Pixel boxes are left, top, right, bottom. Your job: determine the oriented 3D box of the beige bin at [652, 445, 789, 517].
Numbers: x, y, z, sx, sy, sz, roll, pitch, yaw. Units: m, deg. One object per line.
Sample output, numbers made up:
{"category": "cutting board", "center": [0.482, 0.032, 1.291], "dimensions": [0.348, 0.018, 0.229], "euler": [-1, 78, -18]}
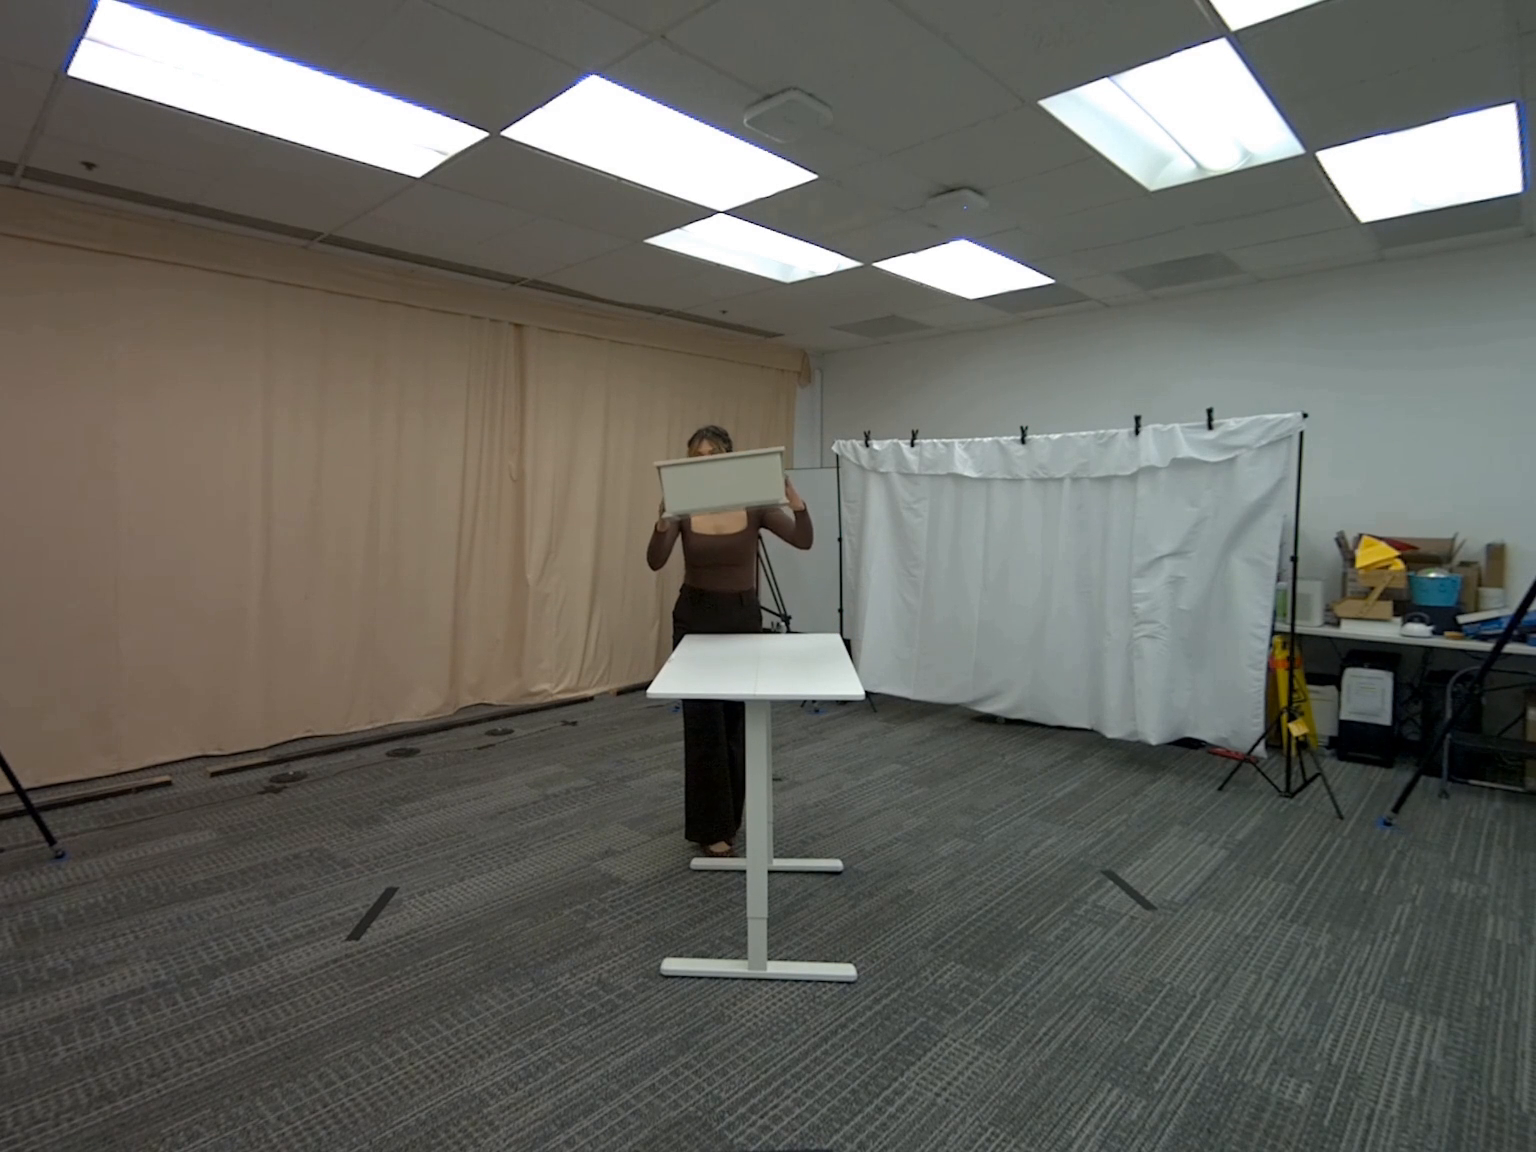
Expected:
{"category": "beige bin", "center": [-0.159, -0.316, 2.867], "dimensions": [0.422, 0.188, 0.379], "euler": [-7, 6, -1]}
